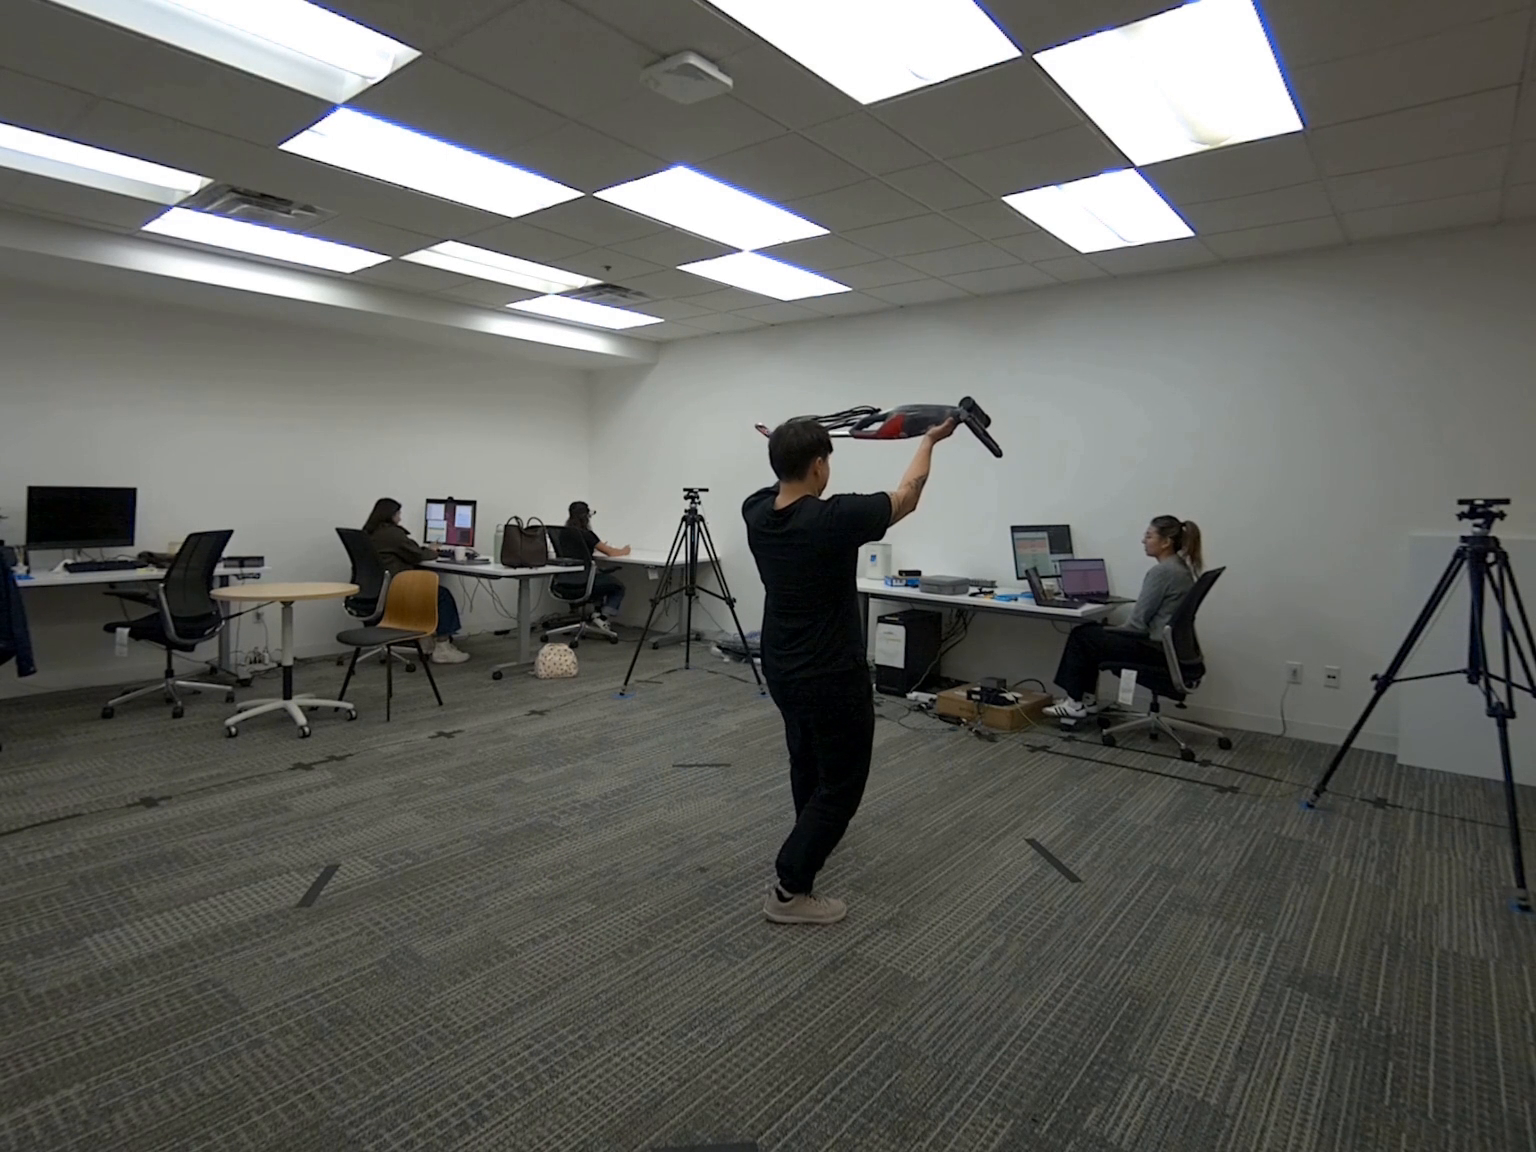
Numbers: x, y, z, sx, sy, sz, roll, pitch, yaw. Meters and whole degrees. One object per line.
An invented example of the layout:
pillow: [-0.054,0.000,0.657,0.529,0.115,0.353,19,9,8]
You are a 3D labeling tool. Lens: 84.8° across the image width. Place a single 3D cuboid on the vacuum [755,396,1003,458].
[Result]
vacuum: [0.318,-0.565,3.160,1.088,0.145,0.242,11,-12,46]
